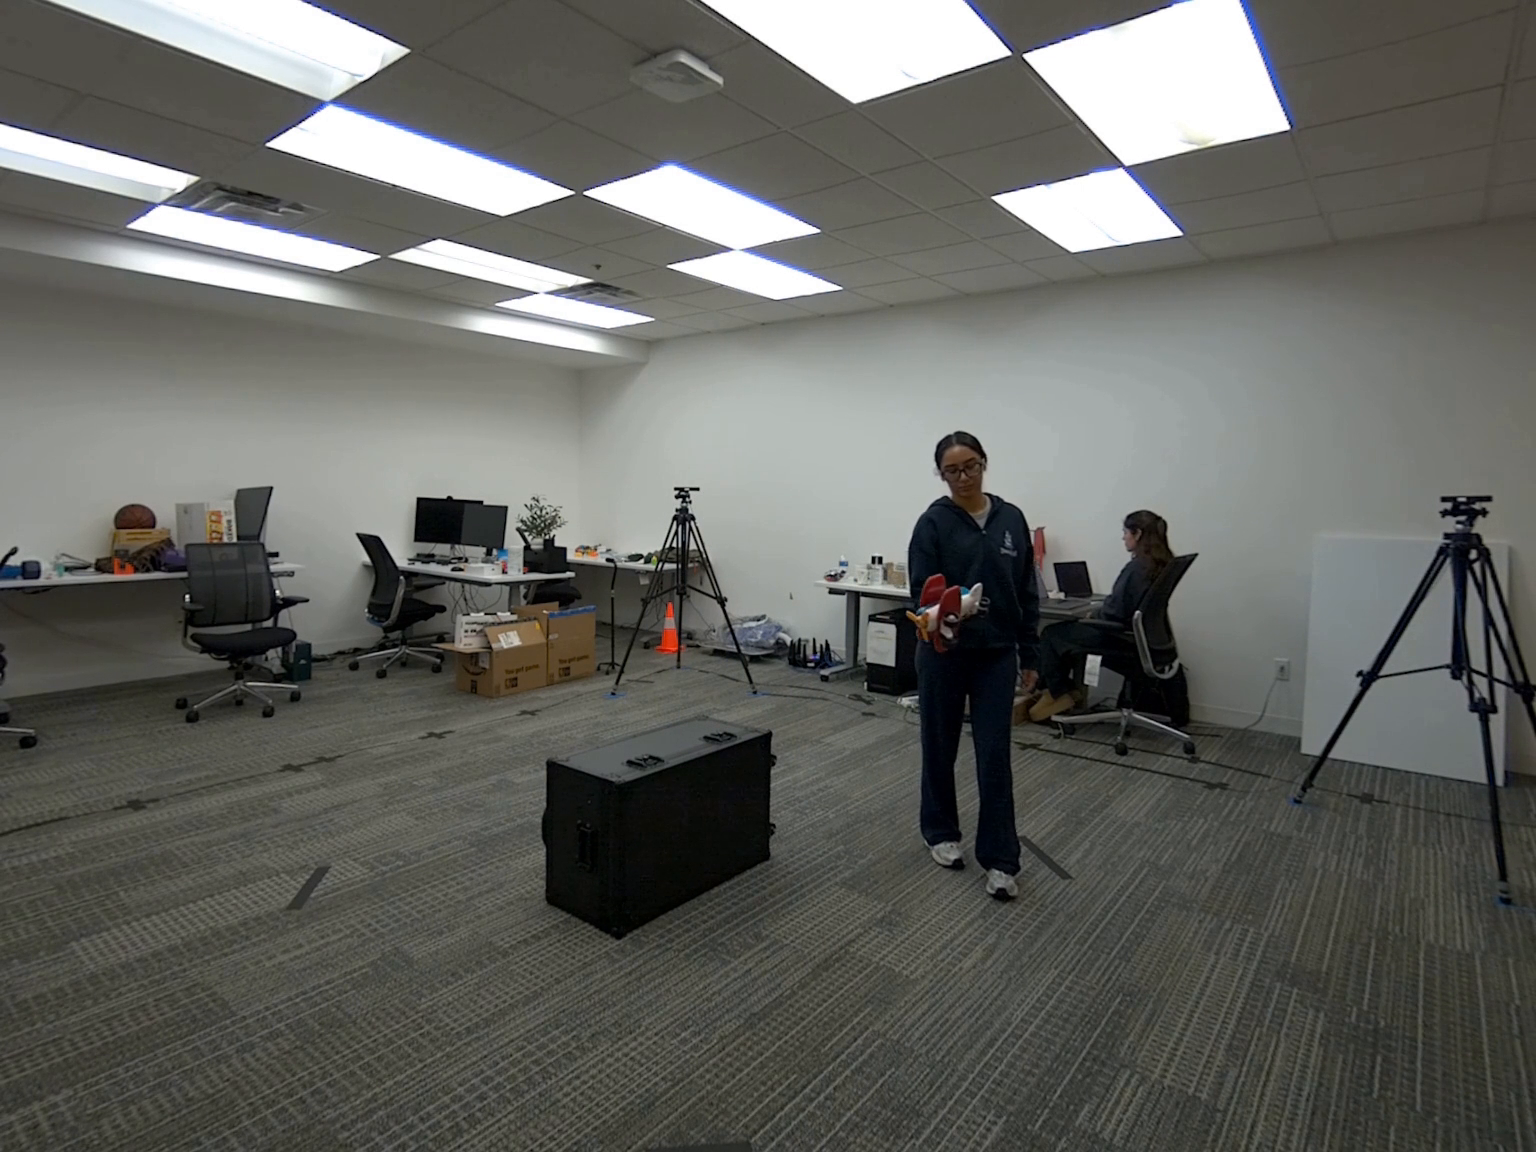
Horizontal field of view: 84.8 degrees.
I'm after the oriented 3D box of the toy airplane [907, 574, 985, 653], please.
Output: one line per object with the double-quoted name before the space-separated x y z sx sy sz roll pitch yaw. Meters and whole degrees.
"toy airplane" 0.598 0.123 2.778 0.163 0.249 0.251 30 18 37
